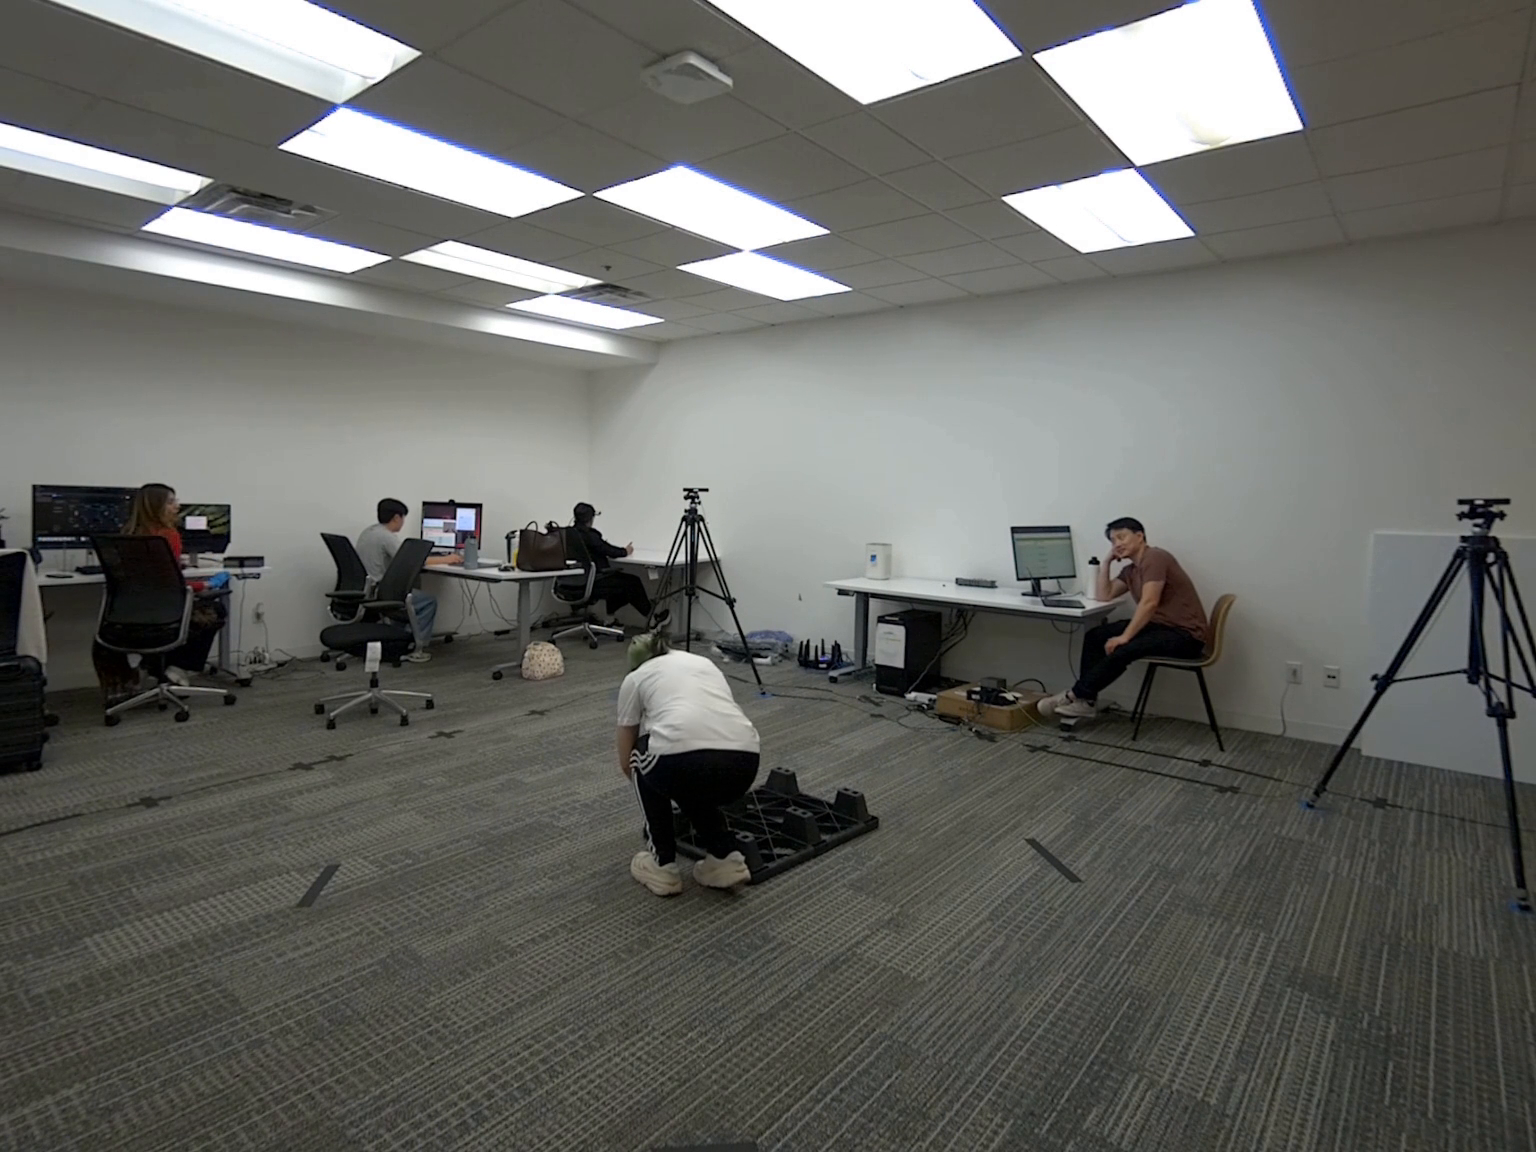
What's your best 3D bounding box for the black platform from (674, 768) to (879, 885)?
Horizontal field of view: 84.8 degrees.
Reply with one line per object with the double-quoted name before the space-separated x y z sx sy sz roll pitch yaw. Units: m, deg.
"black platform" -0.024 0.973 3.454 0.625 0.143 0.782 5 7 42
